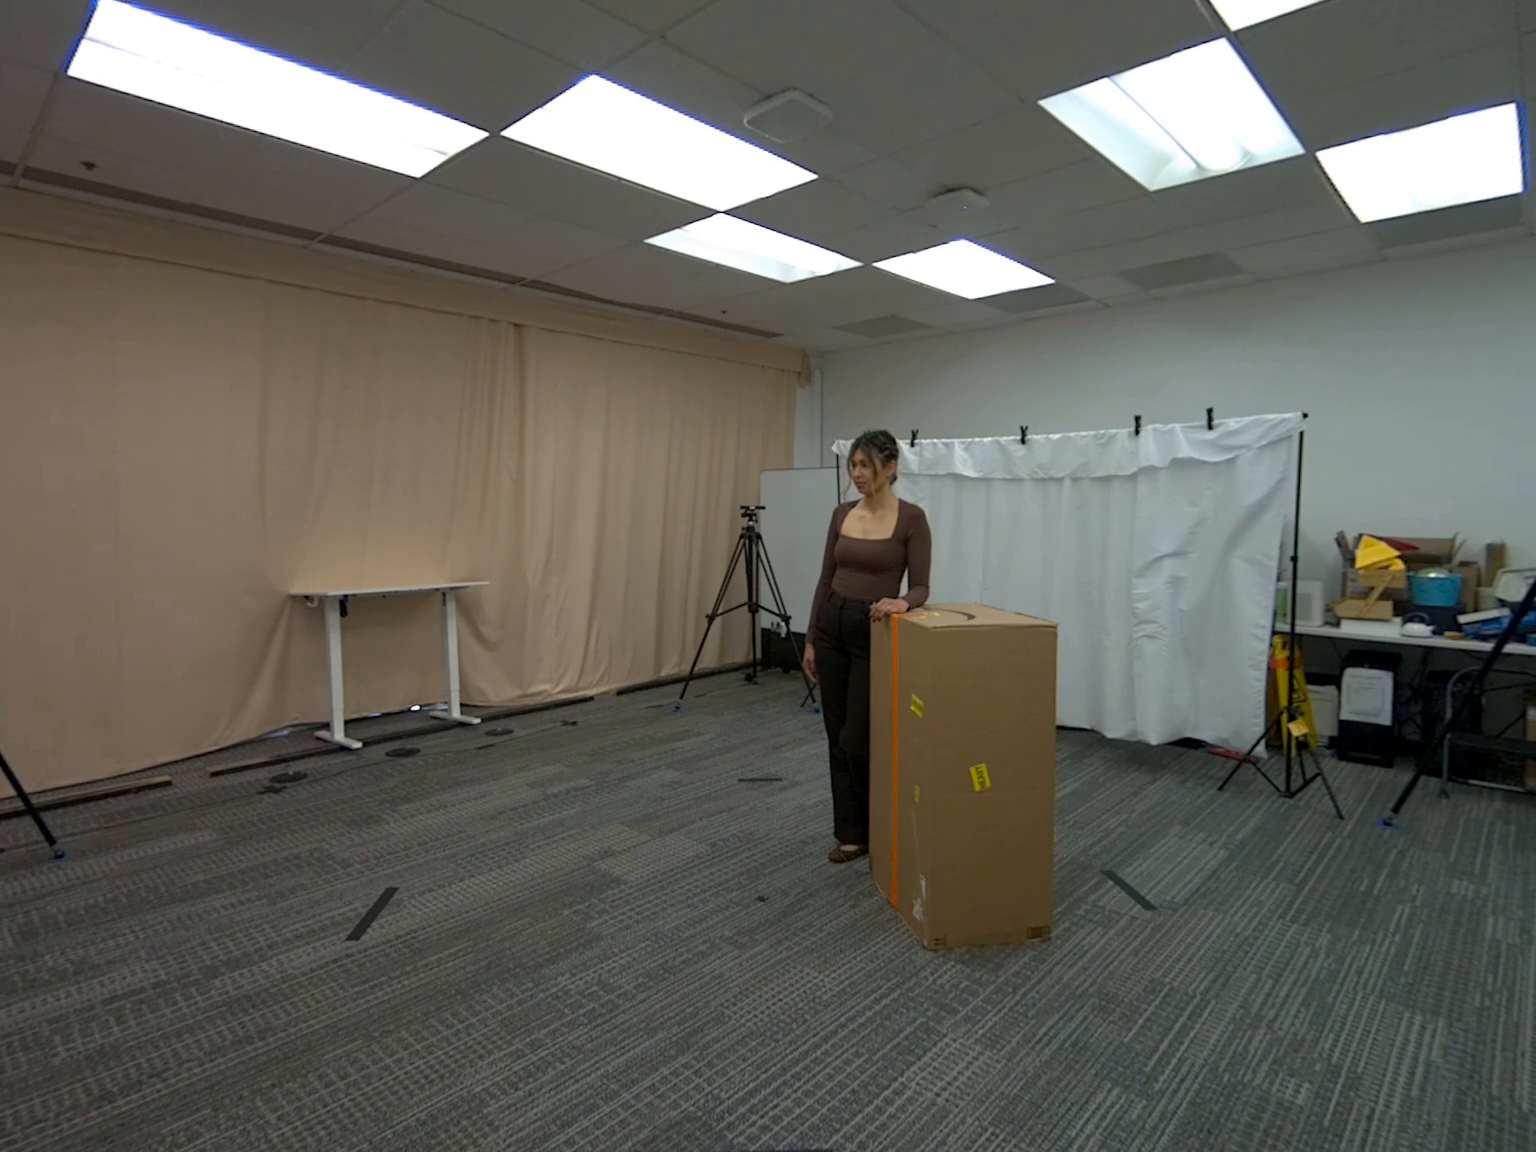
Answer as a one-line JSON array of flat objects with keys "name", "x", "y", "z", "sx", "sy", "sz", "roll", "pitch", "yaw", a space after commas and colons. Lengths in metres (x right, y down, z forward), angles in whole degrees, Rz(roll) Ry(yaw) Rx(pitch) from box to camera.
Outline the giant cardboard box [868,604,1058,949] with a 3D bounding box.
[{"name": "giant cardboard box", "x": 0.653, "y": 0.639, "z": 2.910, "sx": 0.442, "sy": 1.025, "sz": 0.592, "roll": -1, "pitch": 3, "yaw": -11}]
